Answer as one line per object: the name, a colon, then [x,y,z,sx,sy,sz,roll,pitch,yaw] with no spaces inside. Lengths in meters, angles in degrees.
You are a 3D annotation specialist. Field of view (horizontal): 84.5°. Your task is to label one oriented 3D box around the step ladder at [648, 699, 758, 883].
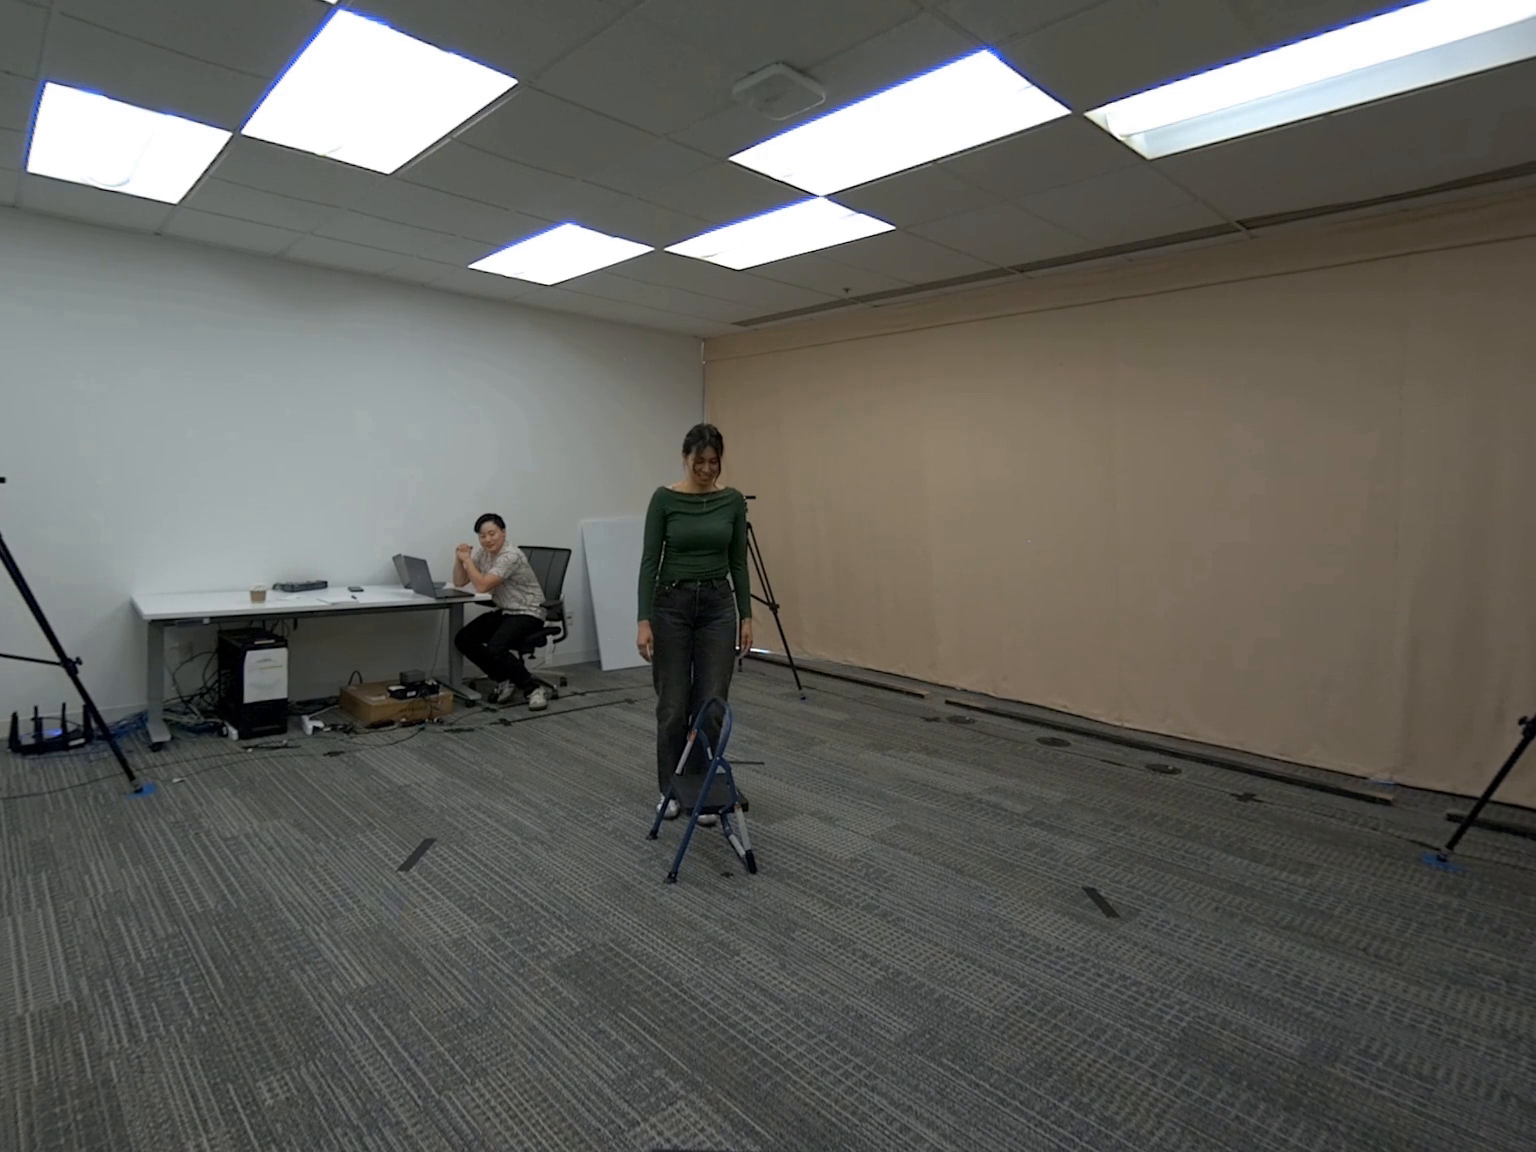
step ladder: [-0.264,0.784,3.248,0.345,0.604,0.437,0,4,-17]
